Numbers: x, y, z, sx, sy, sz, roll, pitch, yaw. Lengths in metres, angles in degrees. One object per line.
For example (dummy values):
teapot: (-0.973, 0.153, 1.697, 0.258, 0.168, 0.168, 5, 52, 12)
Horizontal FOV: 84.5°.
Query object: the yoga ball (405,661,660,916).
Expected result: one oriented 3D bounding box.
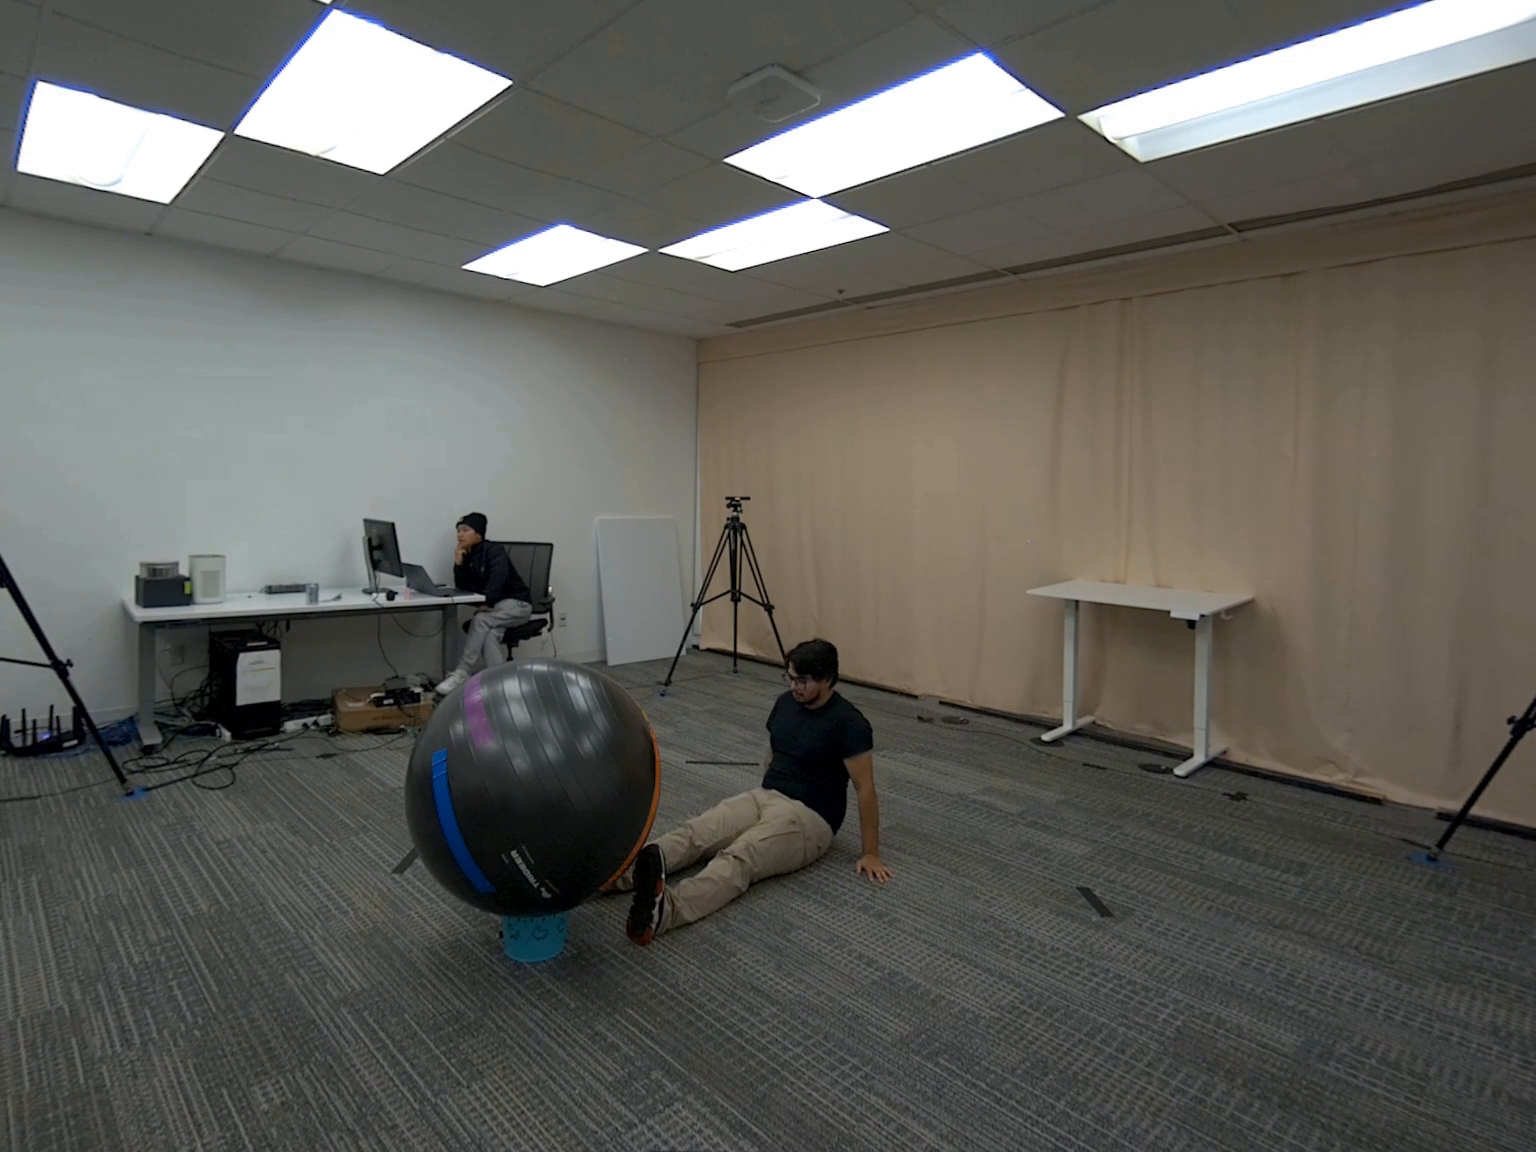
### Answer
yoga ball: (-0.713, 0.638, 2.567, 0.757, 0.756, 0.761, 1, 4, -1)
